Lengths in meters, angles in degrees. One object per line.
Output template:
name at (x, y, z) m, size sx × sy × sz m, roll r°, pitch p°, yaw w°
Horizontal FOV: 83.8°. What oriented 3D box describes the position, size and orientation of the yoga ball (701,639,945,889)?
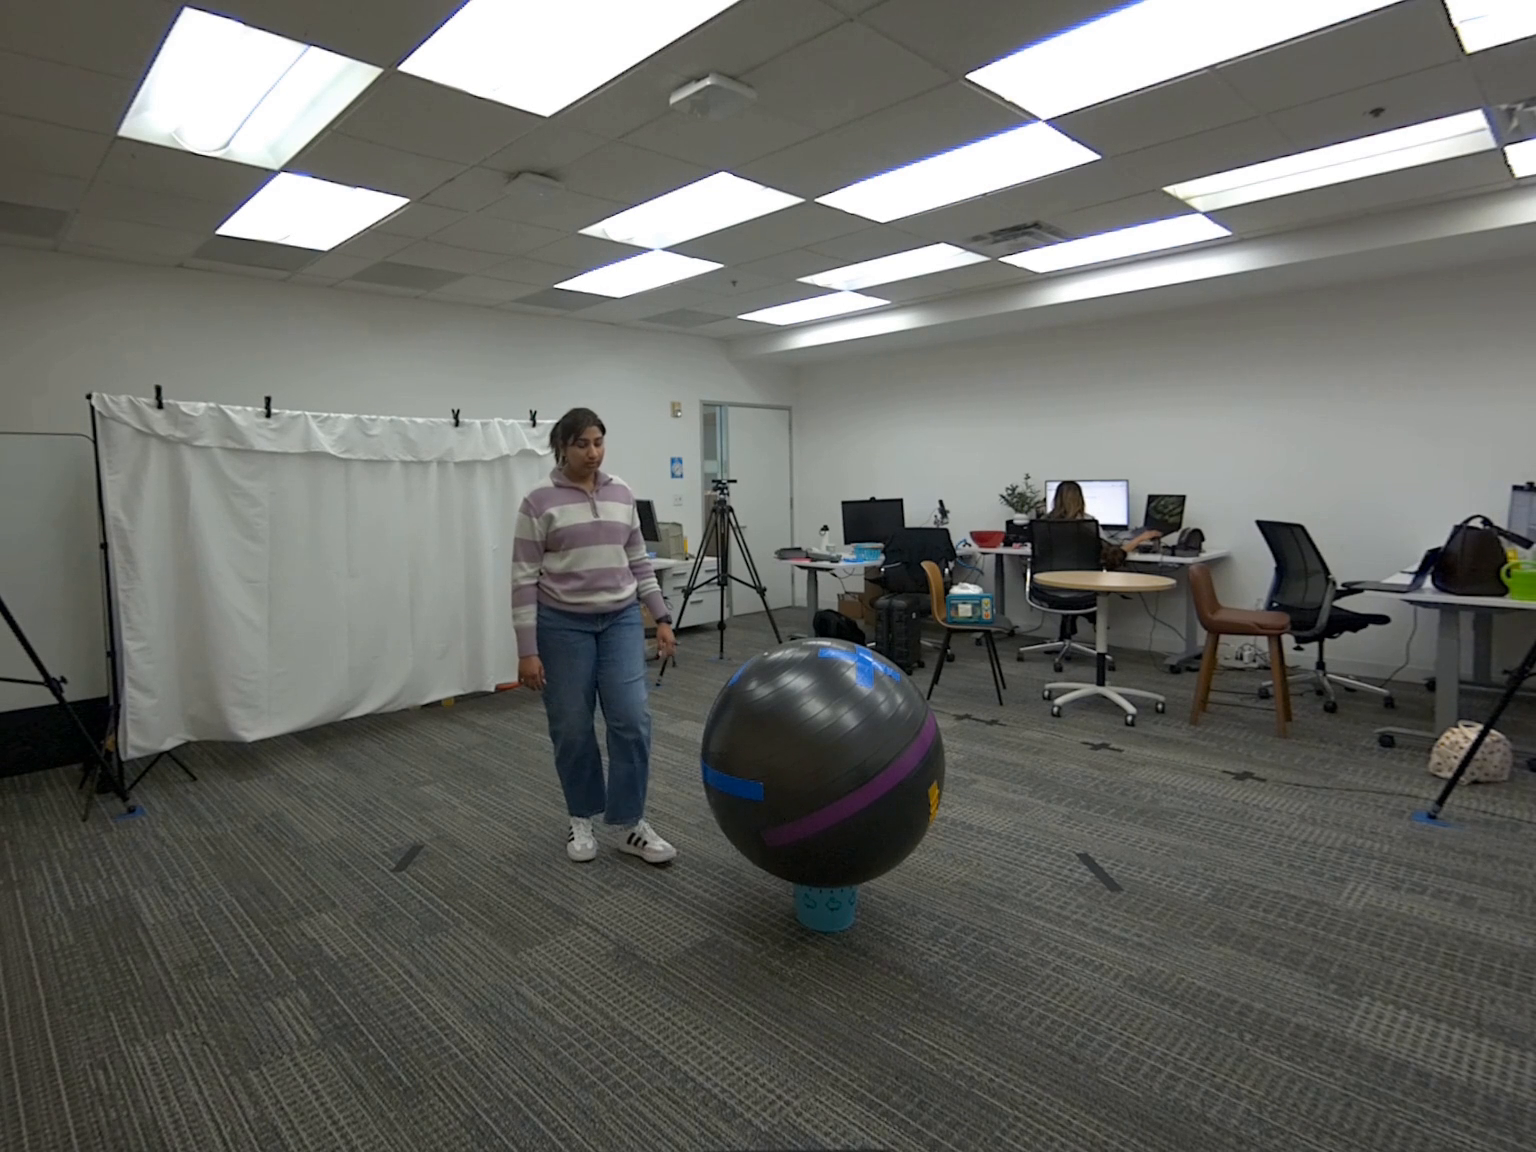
yoga ball at (0.169, 0.587, 2.680) m, size 0.757 × 0.755 × 0.762 m, roll -1°, pitch 5°, yaw -2°
